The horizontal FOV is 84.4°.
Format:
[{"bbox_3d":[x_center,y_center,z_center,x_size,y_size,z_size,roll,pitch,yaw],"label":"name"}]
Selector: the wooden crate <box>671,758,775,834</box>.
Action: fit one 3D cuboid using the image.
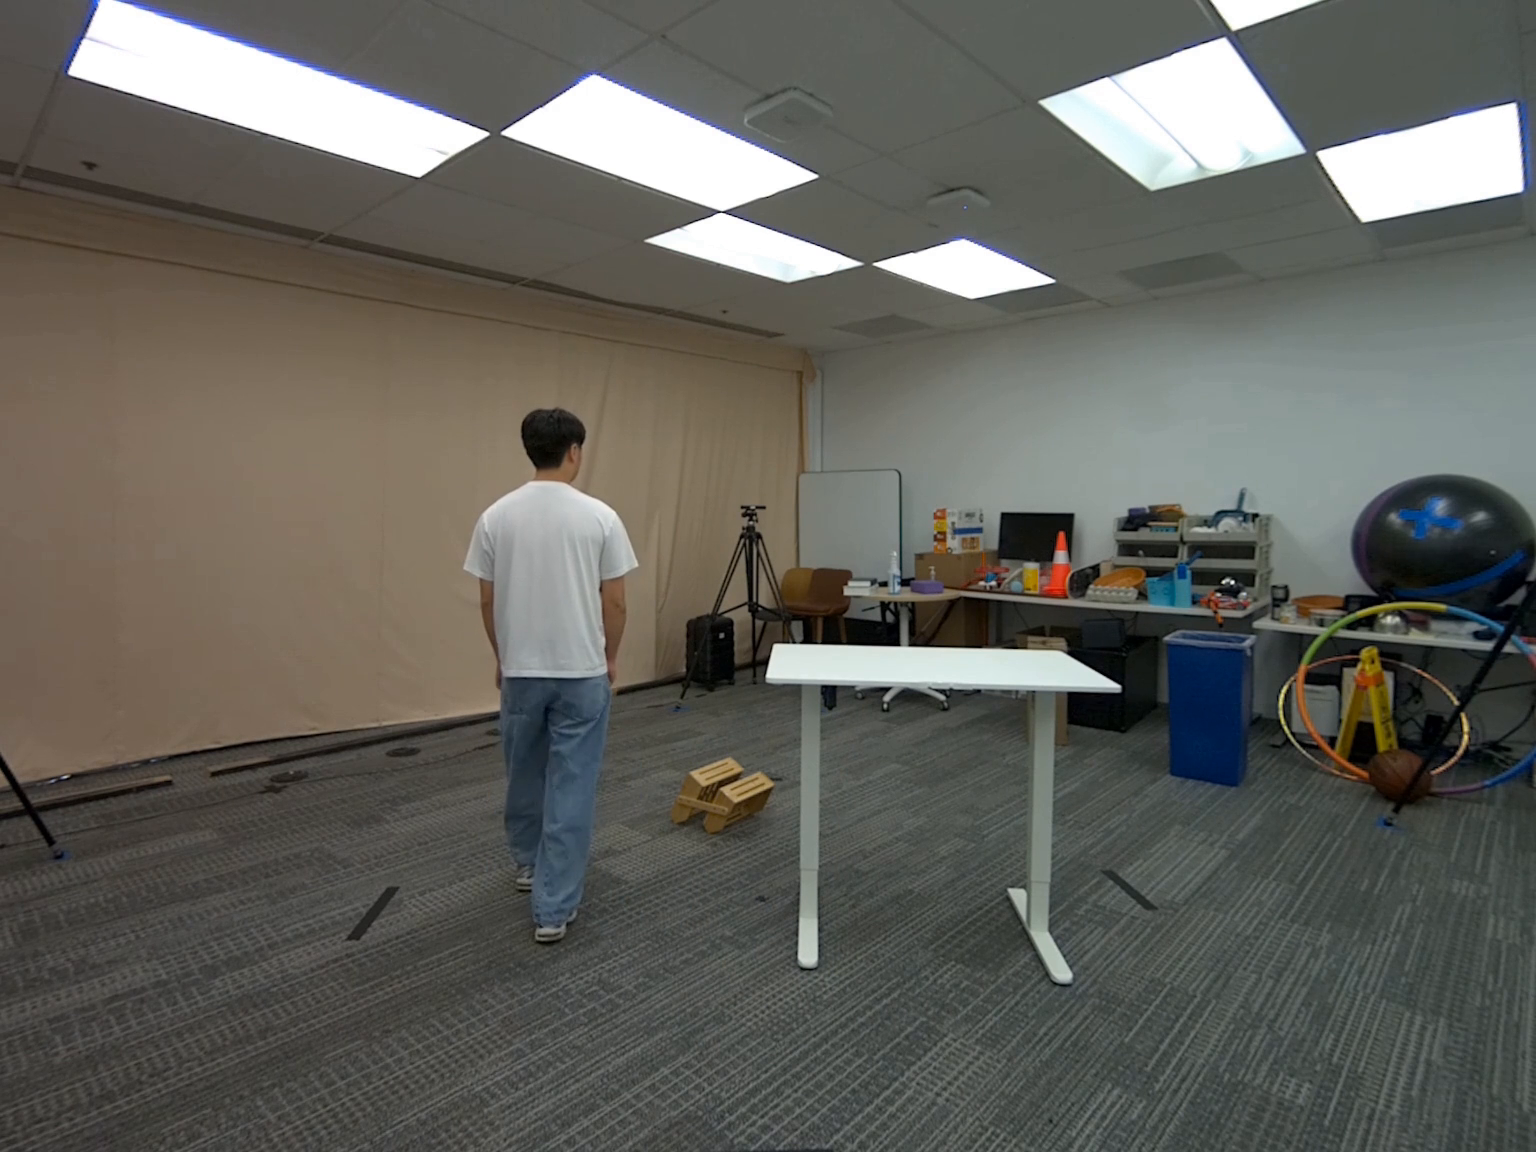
[{"bbox_3d":[-0.199,0.996,3.718,0.282,0.301,0.315,35,23,30],"label":"wooden crate"}]
